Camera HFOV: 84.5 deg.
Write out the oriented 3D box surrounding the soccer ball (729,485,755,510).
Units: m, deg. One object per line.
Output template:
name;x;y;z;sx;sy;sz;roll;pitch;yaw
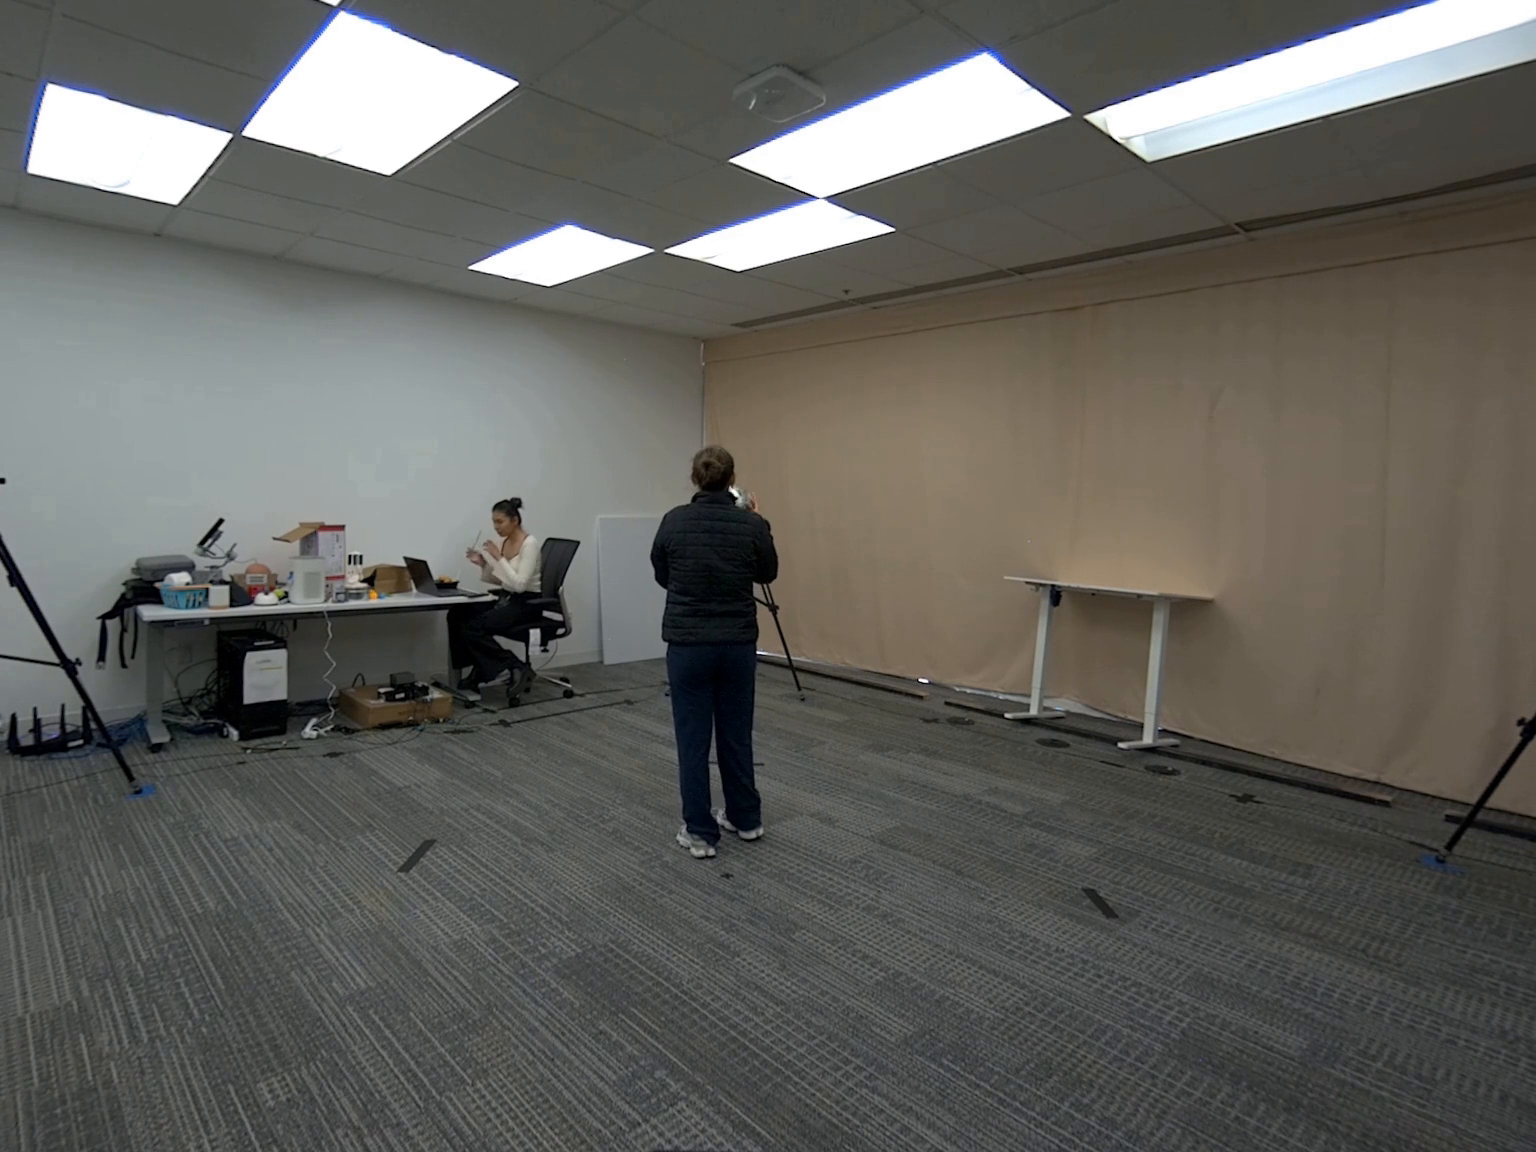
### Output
soccer ball;-0.167;-0.286;3.610;0.187;0.187;0.188;1;4;-1
